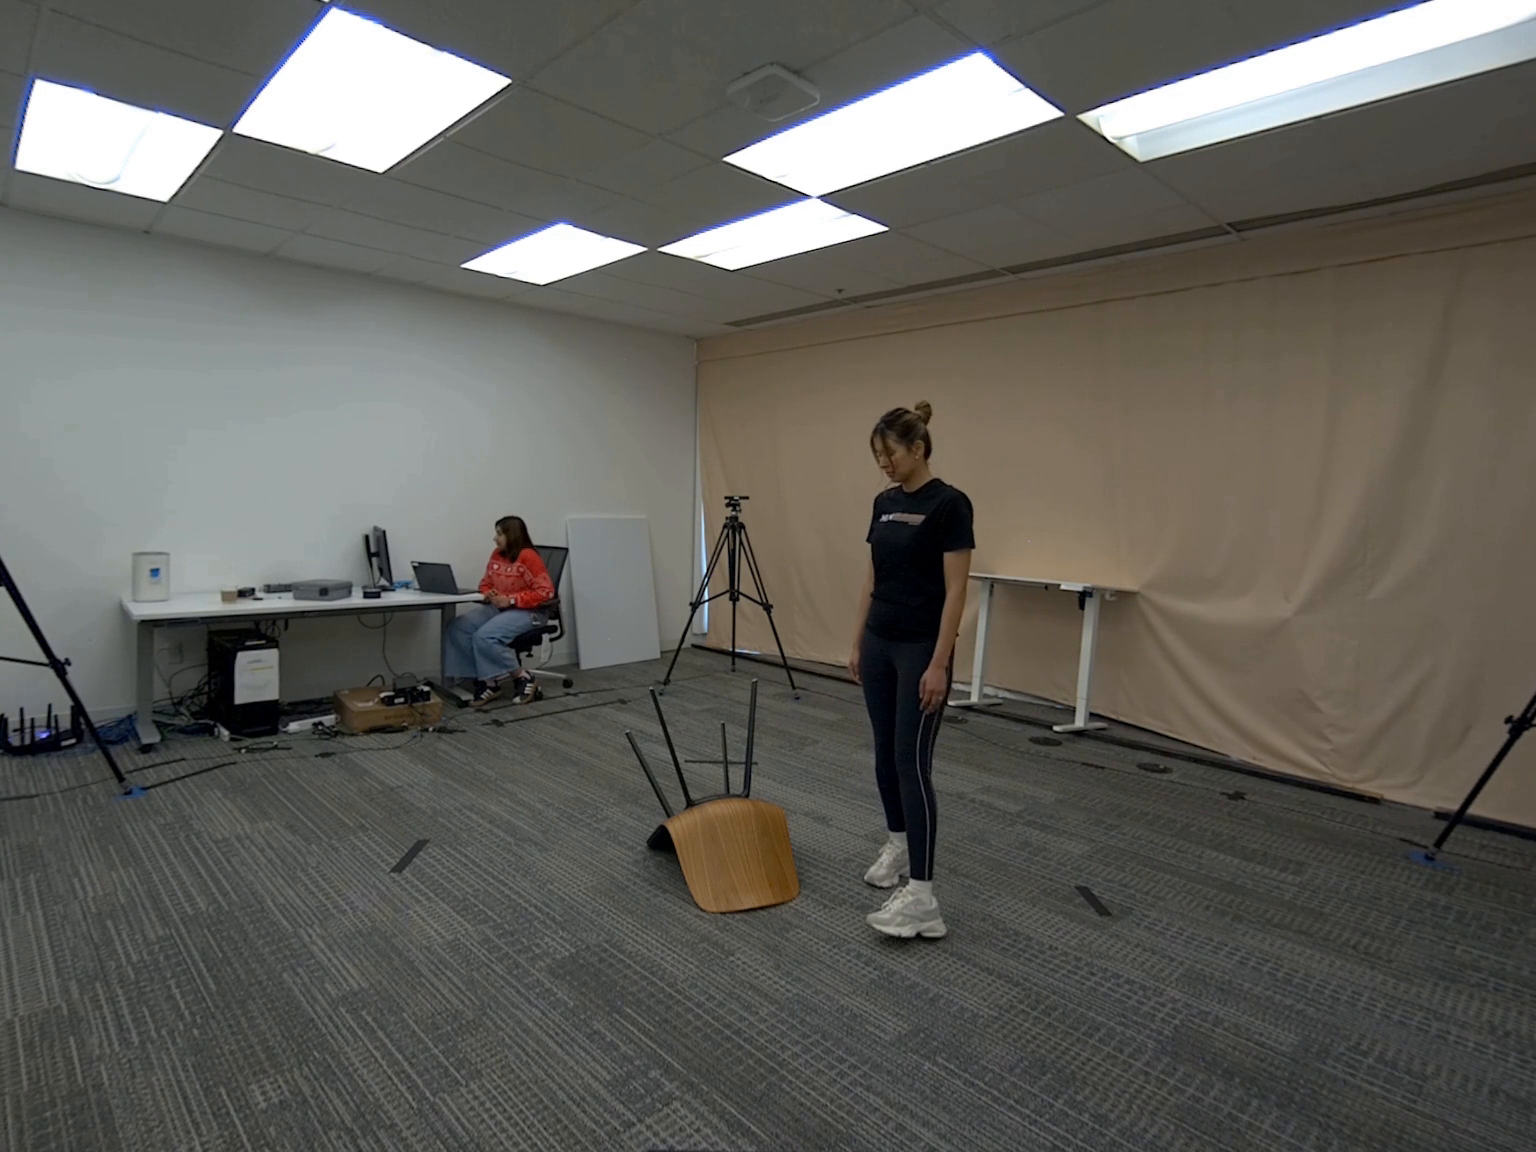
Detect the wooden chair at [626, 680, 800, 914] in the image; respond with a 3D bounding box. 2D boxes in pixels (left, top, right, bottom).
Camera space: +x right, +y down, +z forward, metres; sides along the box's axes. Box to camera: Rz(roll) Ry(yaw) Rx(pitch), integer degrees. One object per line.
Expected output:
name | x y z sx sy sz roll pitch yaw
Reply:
wooden chair | -0.230 0.914 3.276 0.470 0.900 0.518 -1 -36 -24
